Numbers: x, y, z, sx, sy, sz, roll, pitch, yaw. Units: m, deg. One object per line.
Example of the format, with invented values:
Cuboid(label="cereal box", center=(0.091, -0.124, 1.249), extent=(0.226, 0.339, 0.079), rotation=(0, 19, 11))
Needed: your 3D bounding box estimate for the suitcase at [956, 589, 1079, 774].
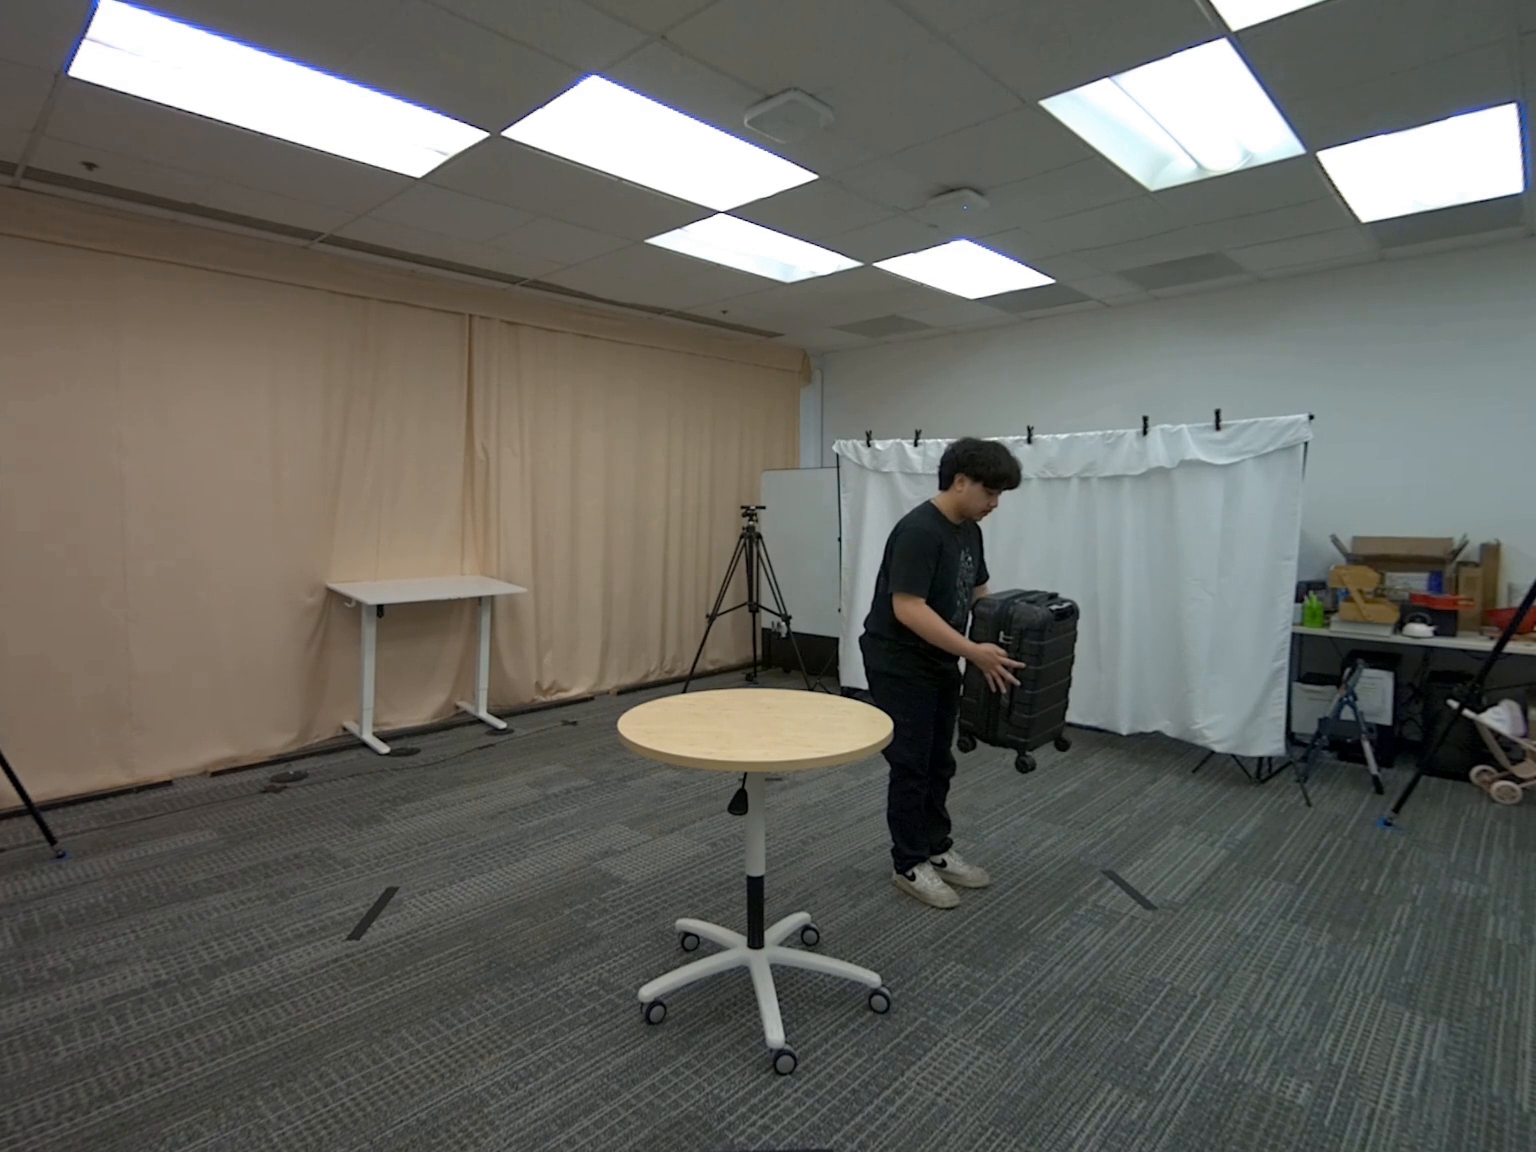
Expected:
Cuboid(label="suitcase", center=(0.863, 0.336, 2.846), extent=(0.257, 0.547, 0.364), rotation=(8, 8, 42))
